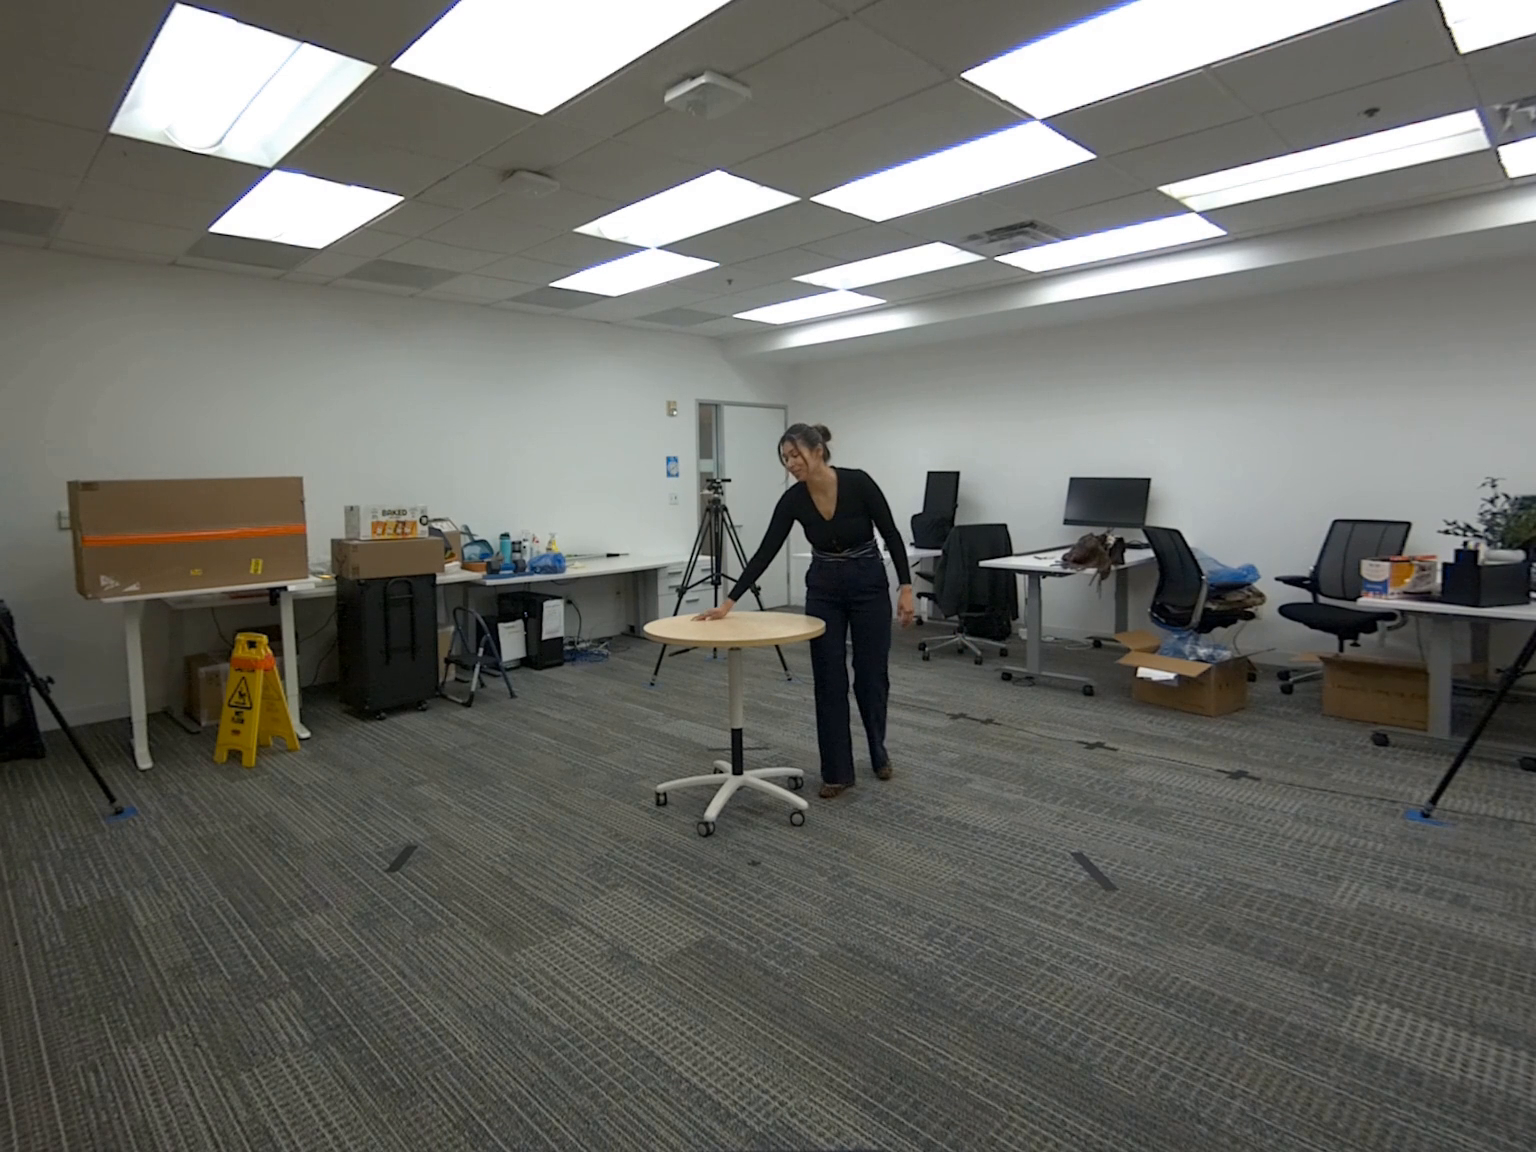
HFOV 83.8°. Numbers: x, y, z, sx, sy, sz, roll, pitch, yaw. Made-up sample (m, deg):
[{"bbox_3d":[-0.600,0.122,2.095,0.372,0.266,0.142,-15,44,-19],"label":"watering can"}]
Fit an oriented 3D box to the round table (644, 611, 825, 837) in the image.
[{"bbox_3d":[-0.130,0.598,3.629,0.763,0.791,0.767,-1,4,-2],"label":"round table"}]
